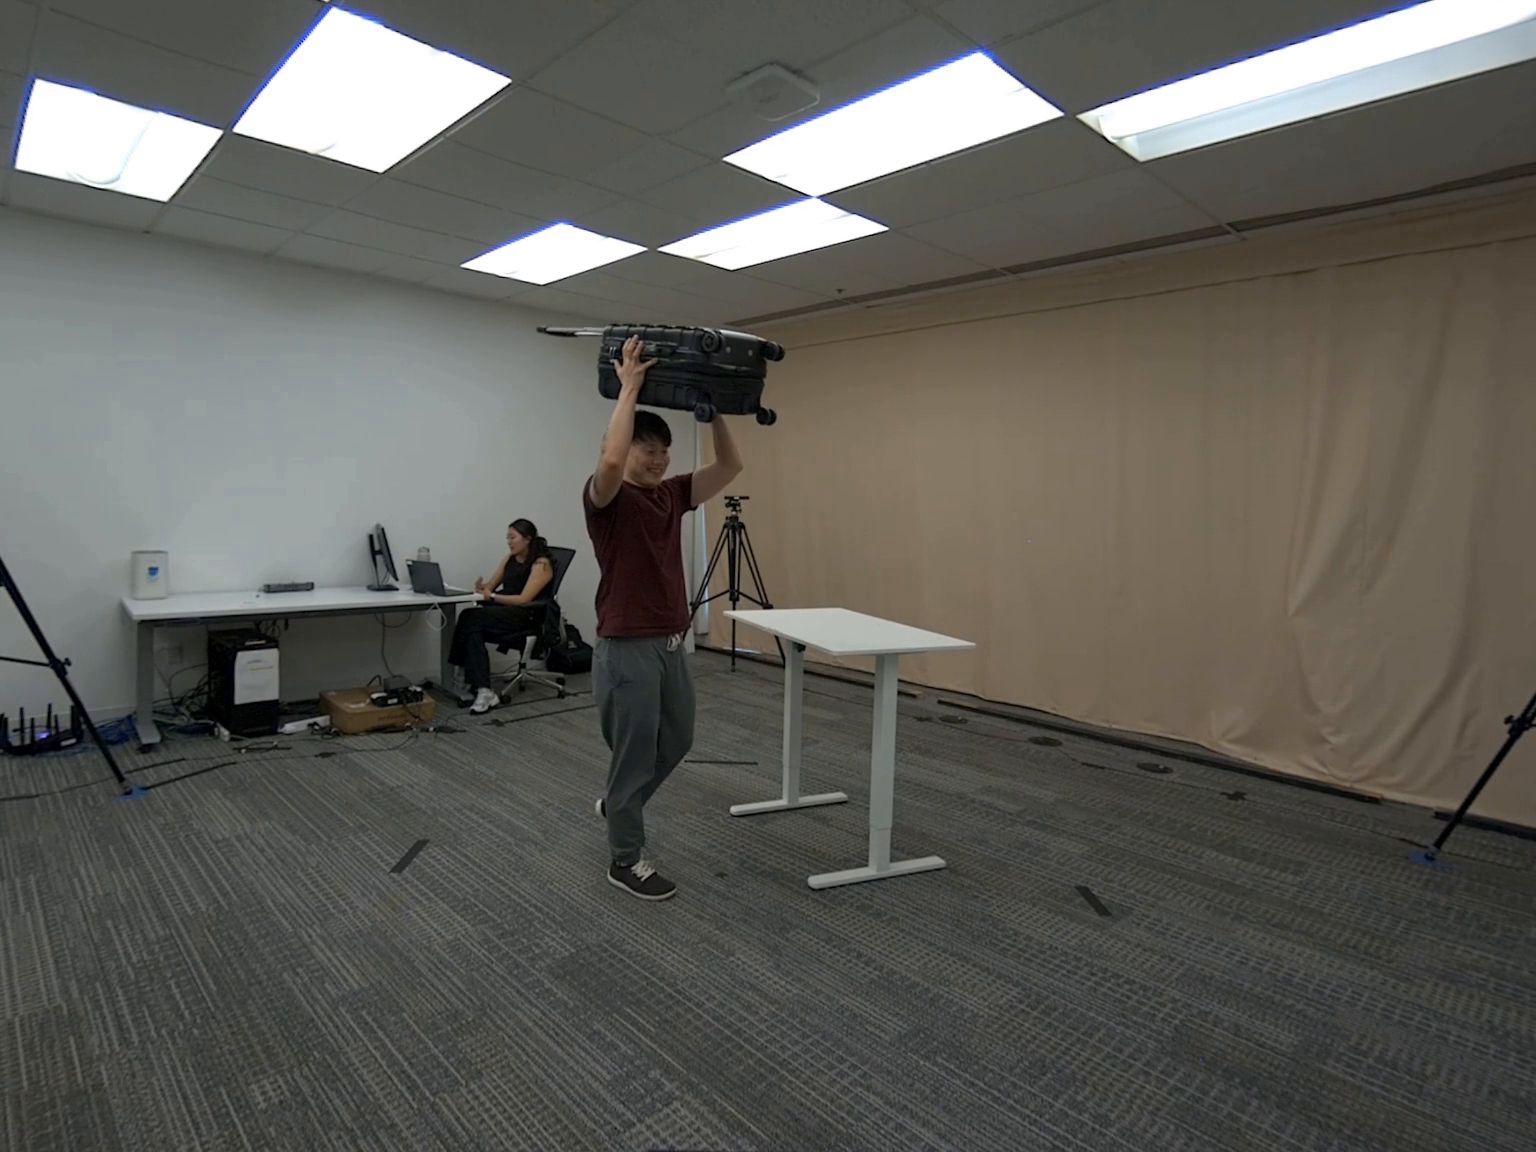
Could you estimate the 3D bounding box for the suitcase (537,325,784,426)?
[{"bbox_3d":[-0.439,-0.706,2.871,1.006,0.255,0.376,16,15,39],"label":"suitcase"}]
